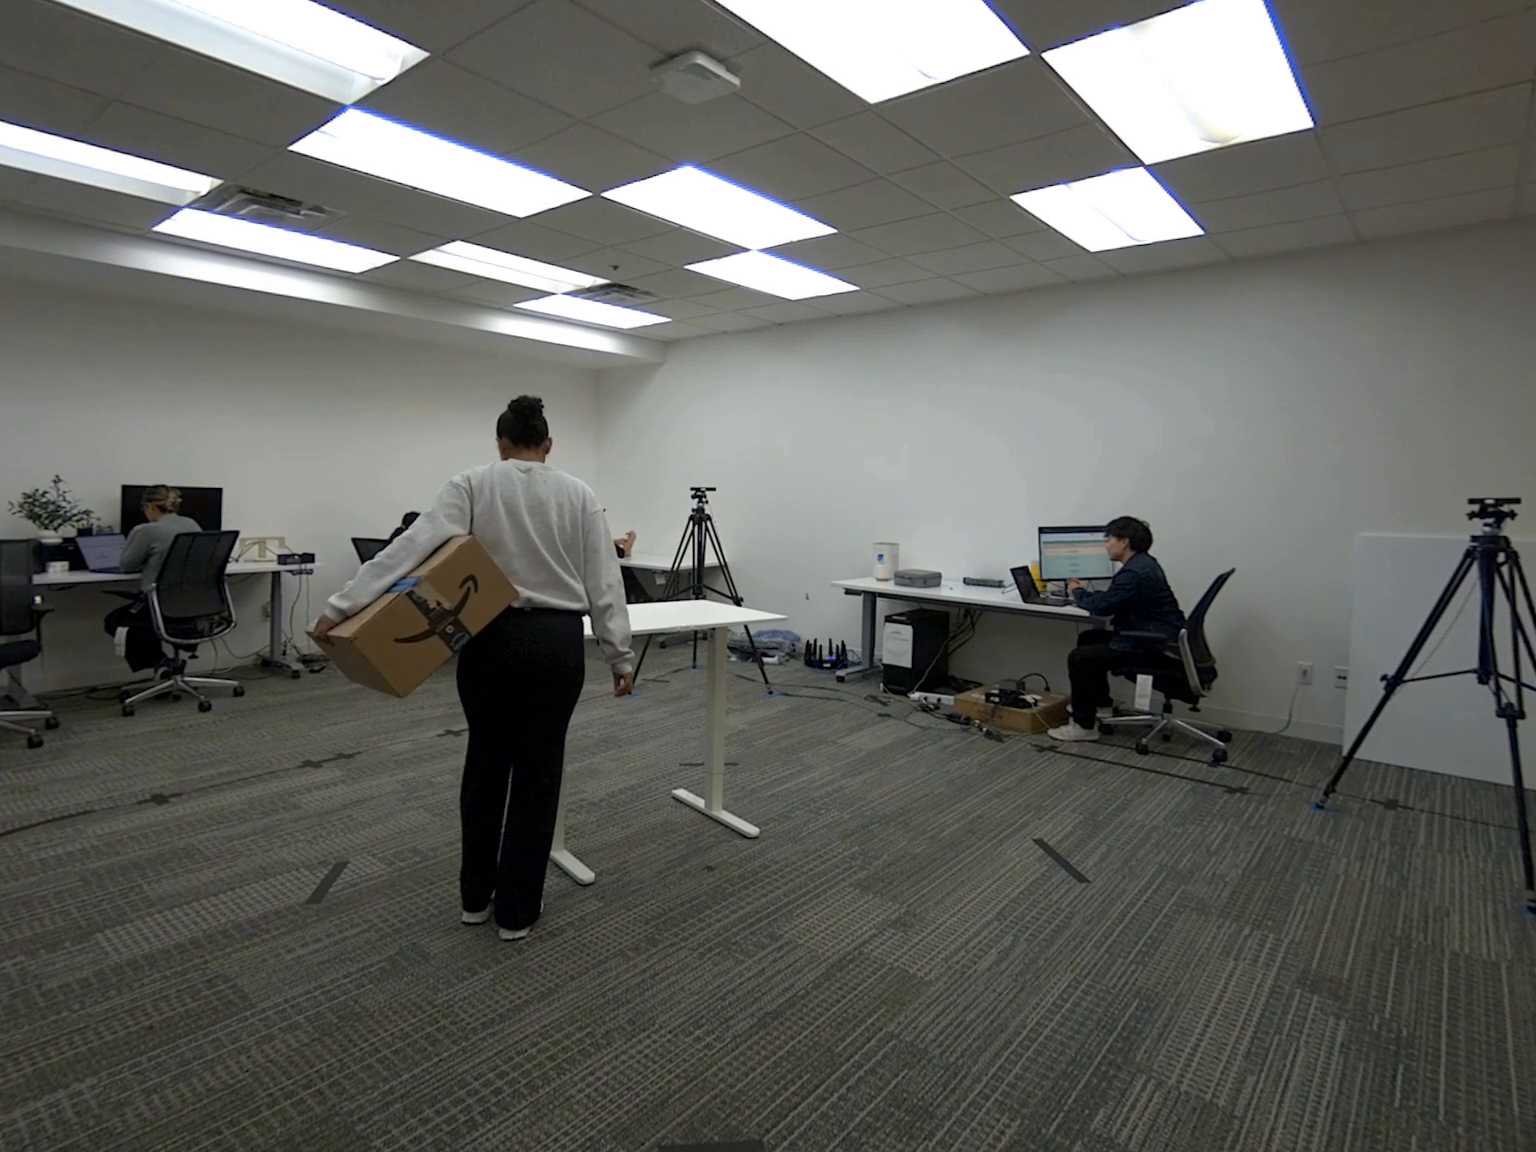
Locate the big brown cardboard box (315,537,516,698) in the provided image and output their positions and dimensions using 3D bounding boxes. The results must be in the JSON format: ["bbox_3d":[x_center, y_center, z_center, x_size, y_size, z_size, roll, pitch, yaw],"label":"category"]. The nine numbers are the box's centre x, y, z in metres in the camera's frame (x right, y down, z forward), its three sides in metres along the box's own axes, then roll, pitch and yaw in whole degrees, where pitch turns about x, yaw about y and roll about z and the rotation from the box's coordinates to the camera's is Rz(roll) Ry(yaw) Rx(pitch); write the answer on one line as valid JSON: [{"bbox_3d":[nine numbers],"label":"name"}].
[{"bbox_3d":[-1.055,0.106,2.472,0.607,0.226,0.417,-1,40,51],"label":"big brown cardboard box"}]
